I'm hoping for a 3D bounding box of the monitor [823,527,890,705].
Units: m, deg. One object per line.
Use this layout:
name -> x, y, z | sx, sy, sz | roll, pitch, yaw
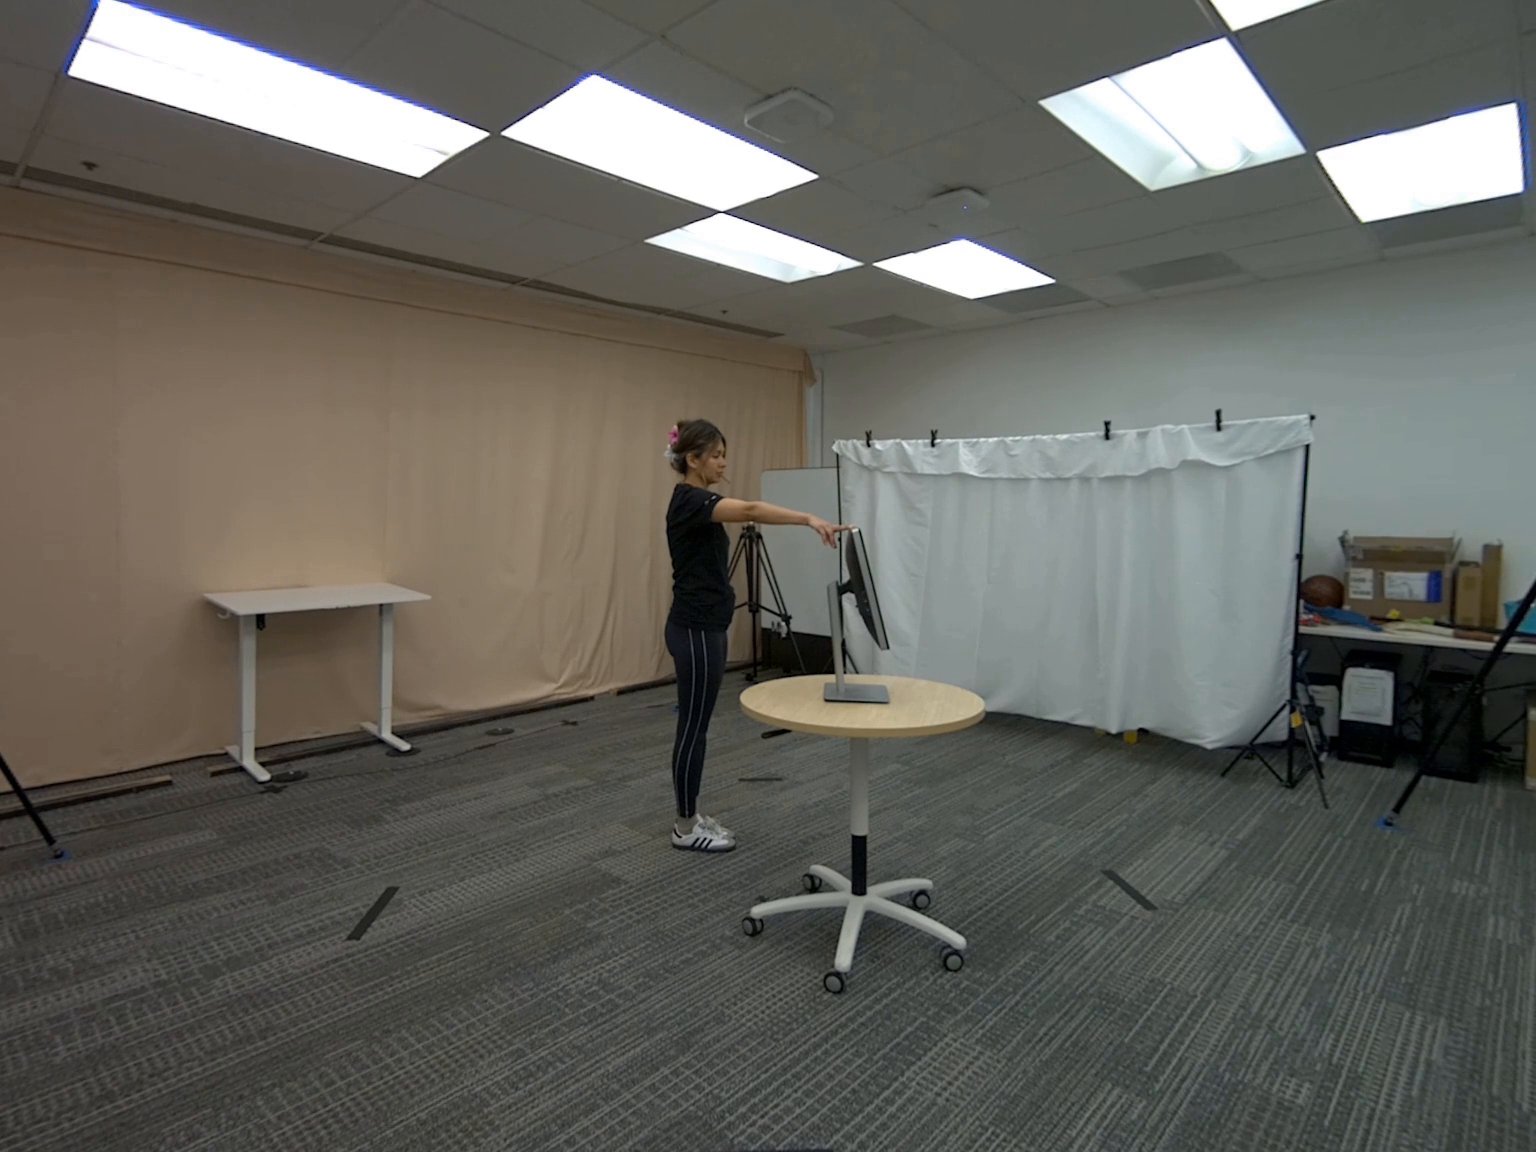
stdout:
monitor -> 0.283, 0.123, 2.724 | 0.188, 0.522, 0.537 | 0, 3, 3
